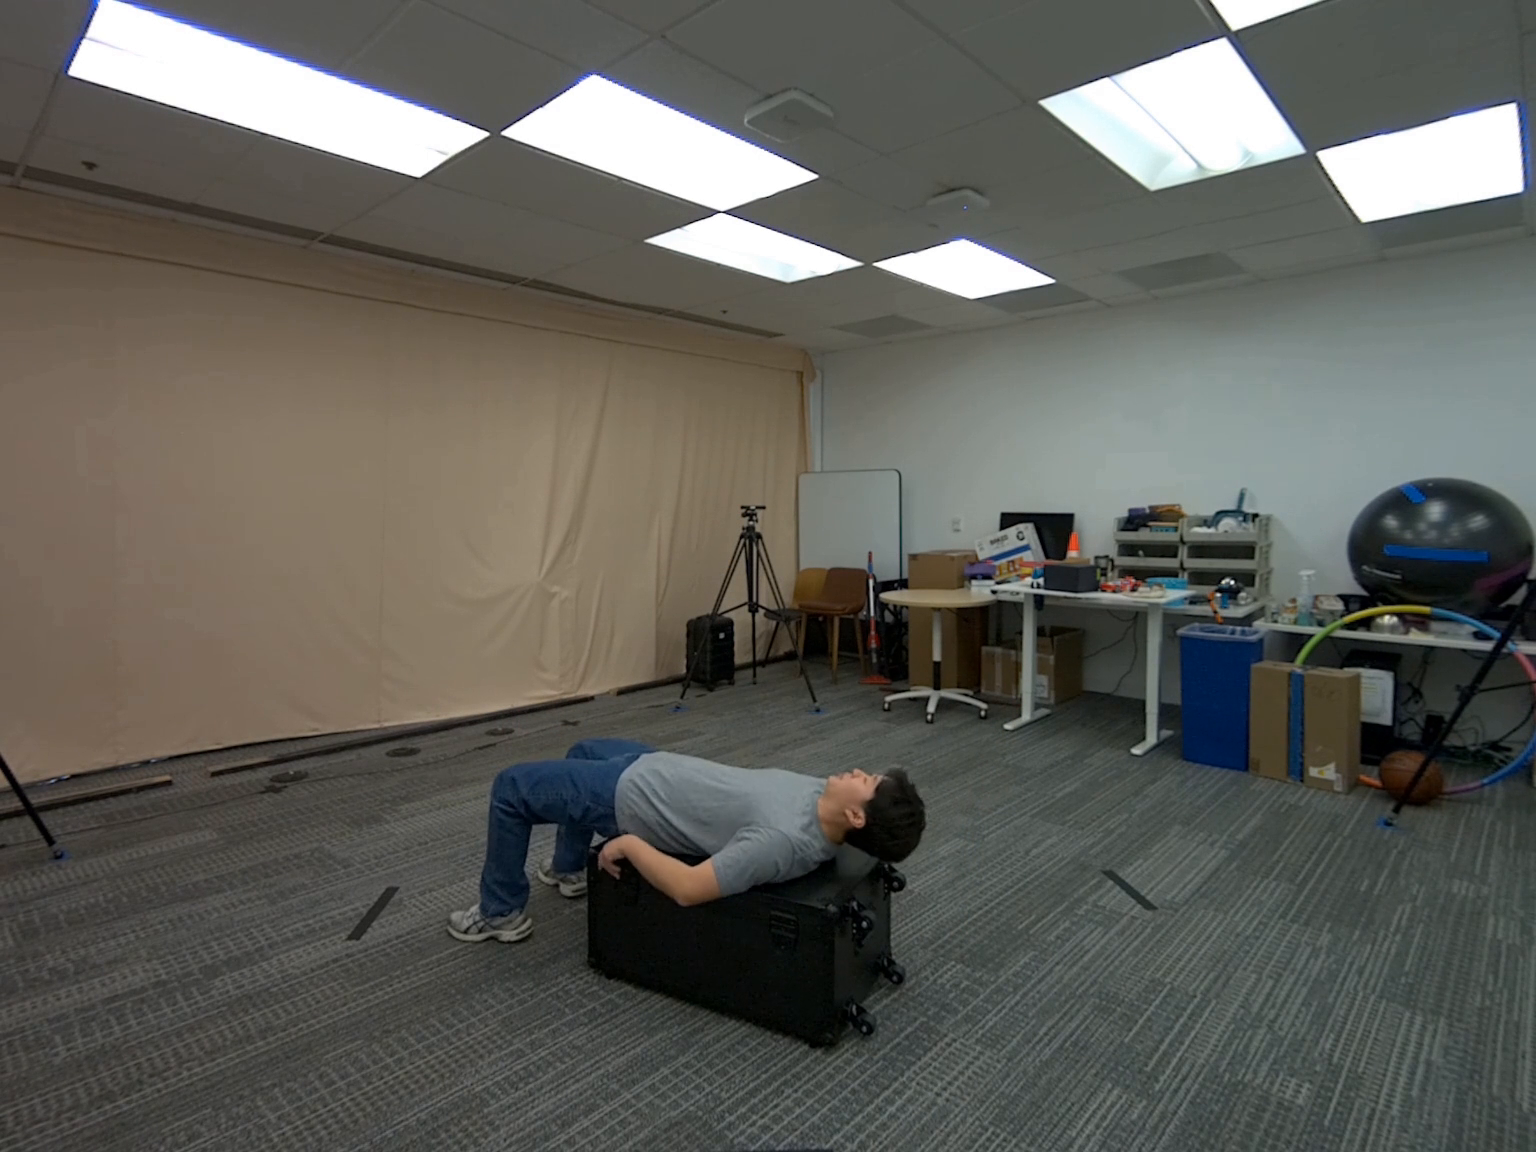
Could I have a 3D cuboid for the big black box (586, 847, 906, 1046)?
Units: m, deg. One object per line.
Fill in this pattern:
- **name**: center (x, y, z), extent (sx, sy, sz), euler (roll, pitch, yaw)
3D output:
- **big black box**: center (-0.050, 1.003, 2.496), extent (0.885, 0.396, 0.508), euler (1, 3, 28)
